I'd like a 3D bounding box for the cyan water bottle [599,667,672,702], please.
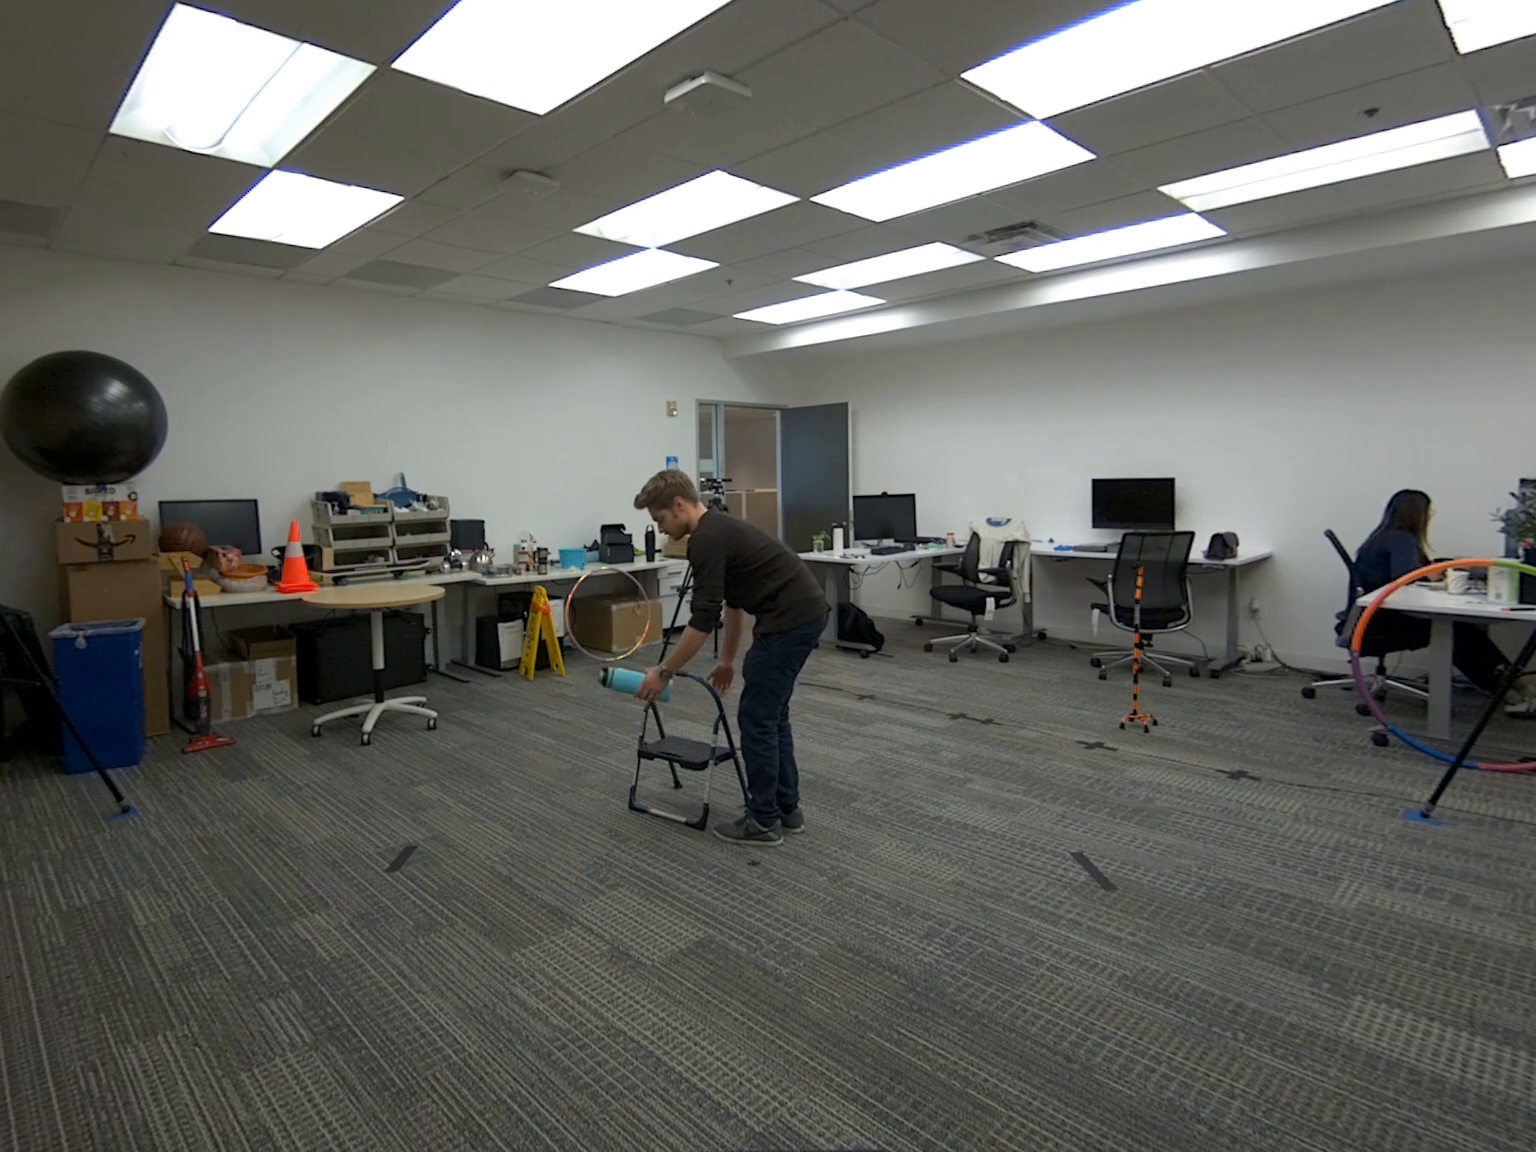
[{"bbox_3d":[-0.506,0.407,3.285,0.282,0.092,0.093,14,3,-4],"label":"cyan water bottle"}]
